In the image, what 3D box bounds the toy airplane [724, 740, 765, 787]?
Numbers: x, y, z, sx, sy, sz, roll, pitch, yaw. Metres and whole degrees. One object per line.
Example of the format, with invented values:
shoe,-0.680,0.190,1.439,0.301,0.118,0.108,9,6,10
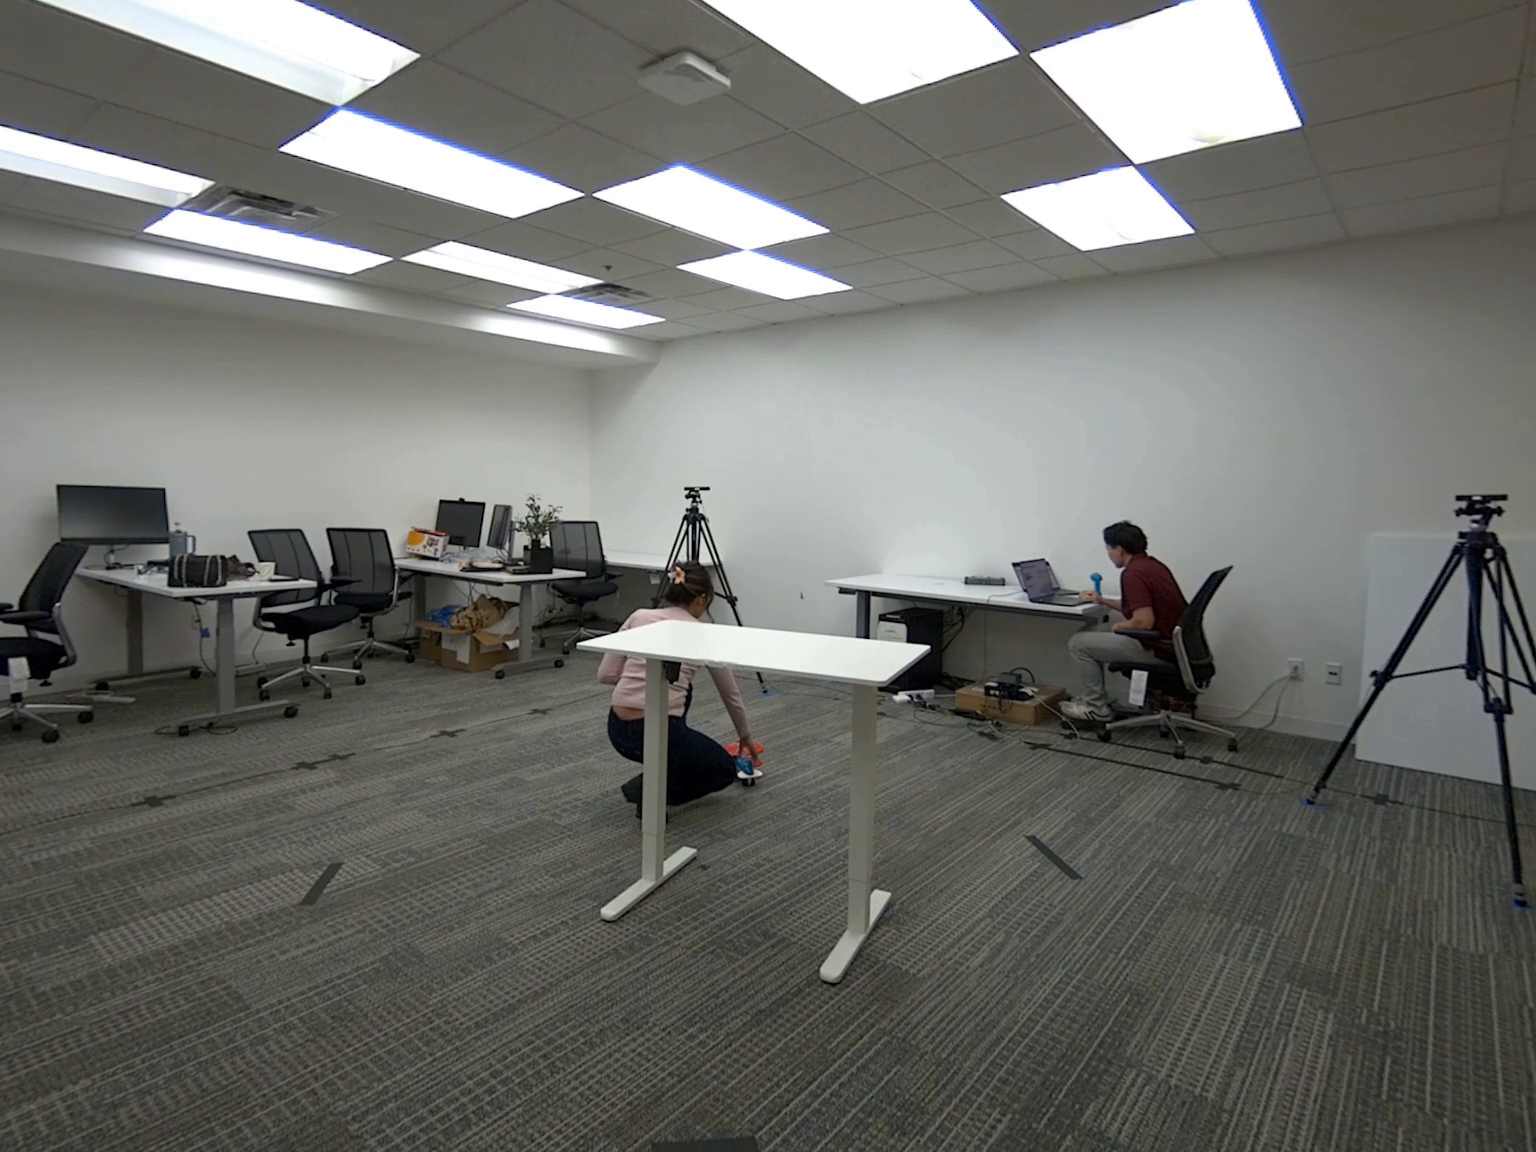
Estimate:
toy airplane,-0.127,0.900,4.083,0.268,0.156,0.244,3,5,38
